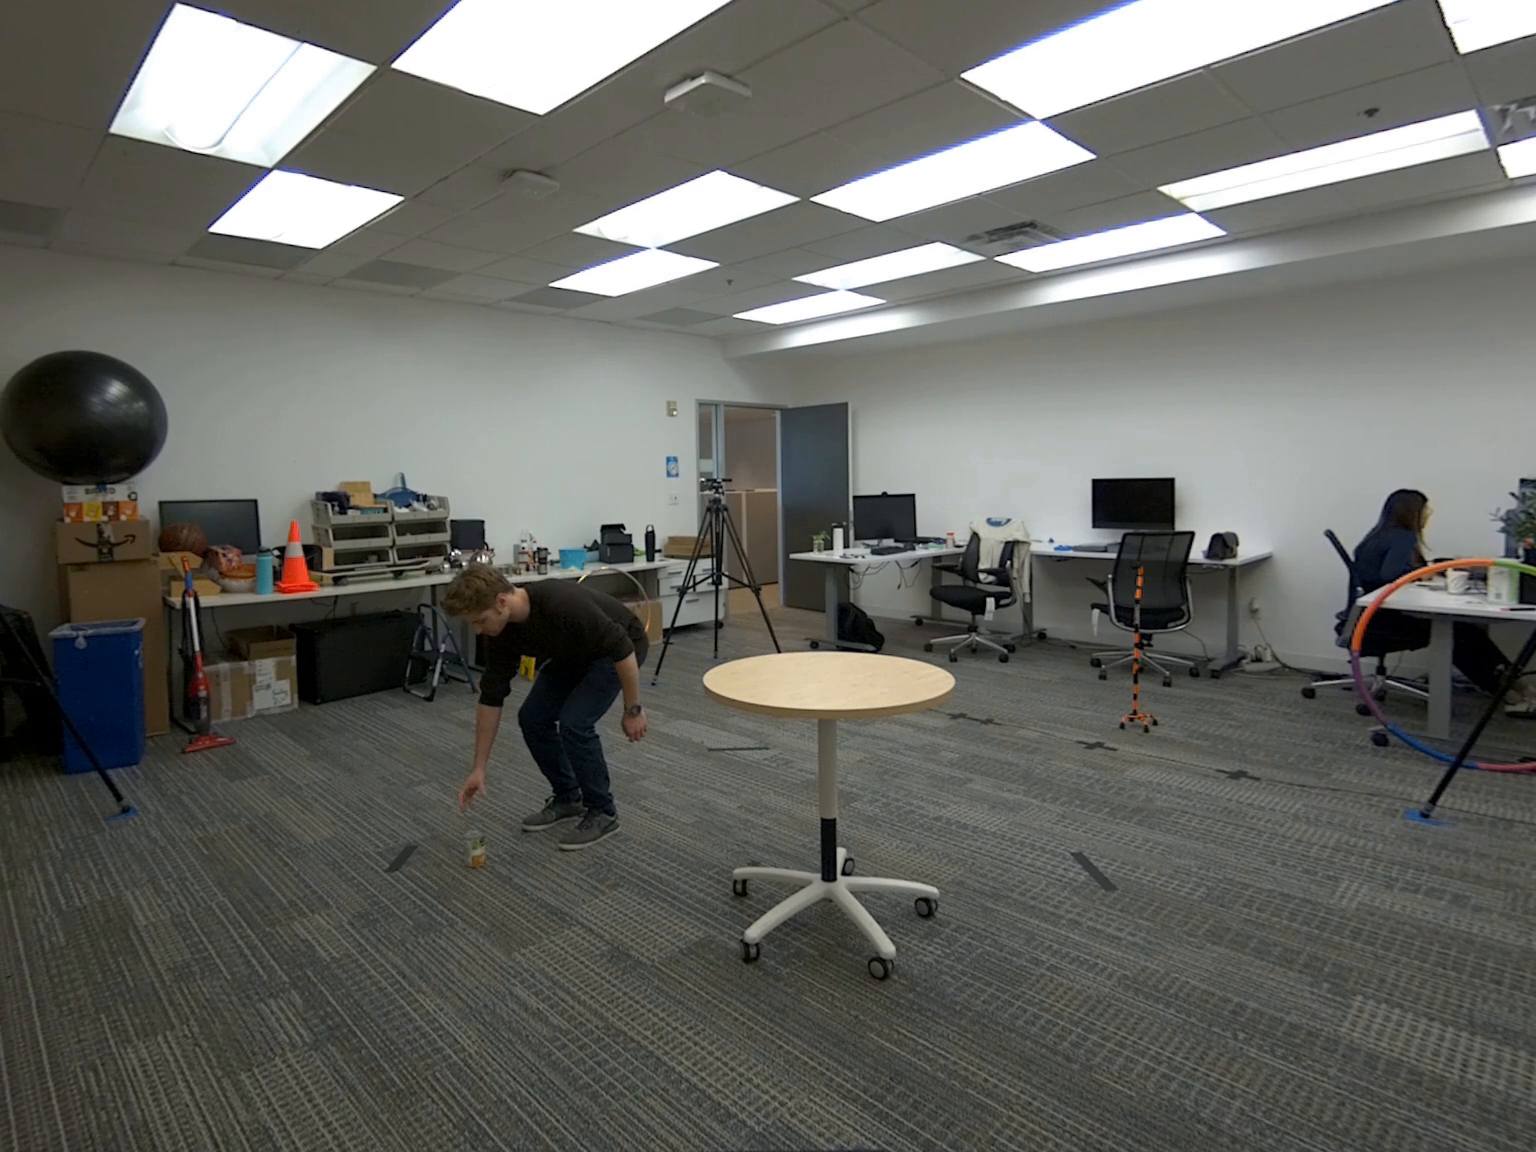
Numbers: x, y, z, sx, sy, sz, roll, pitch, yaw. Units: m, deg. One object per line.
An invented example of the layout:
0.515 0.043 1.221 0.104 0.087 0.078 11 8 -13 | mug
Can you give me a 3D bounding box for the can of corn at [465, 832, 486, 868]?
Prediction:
-1.081 1.009 3.150 0.074 0.110 0.074 -8 4 -1 | can of corn
